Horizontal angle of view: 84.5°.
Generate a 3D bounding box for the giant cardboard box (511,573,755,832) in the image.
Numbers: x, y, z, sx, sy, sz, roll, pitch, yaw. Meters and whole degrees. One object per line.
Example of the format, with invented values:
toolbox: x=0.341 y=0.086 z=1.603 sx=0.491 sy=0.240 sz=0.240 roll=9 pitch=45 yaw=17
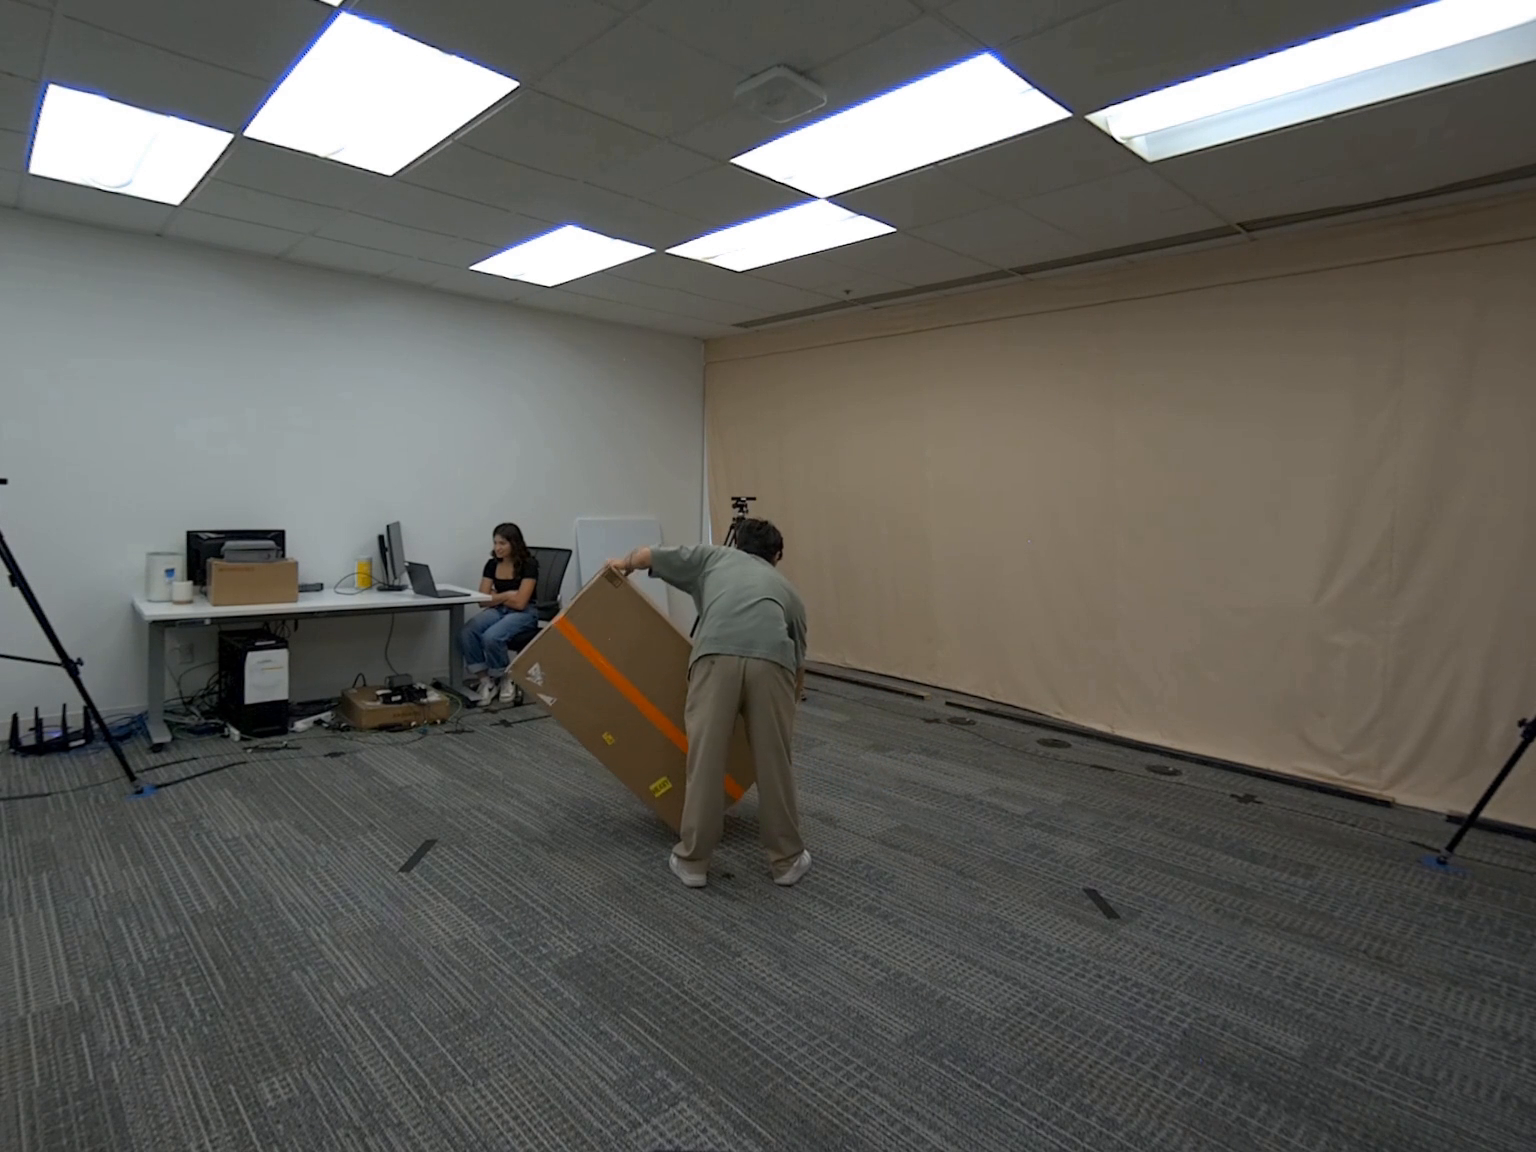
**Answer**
giant cardboard box: x=-0.495 y=0.511 z=3.520 sx=1.018 sy=0.577 sz=0.429 roll=45 pitch=-4 yaw=-7
